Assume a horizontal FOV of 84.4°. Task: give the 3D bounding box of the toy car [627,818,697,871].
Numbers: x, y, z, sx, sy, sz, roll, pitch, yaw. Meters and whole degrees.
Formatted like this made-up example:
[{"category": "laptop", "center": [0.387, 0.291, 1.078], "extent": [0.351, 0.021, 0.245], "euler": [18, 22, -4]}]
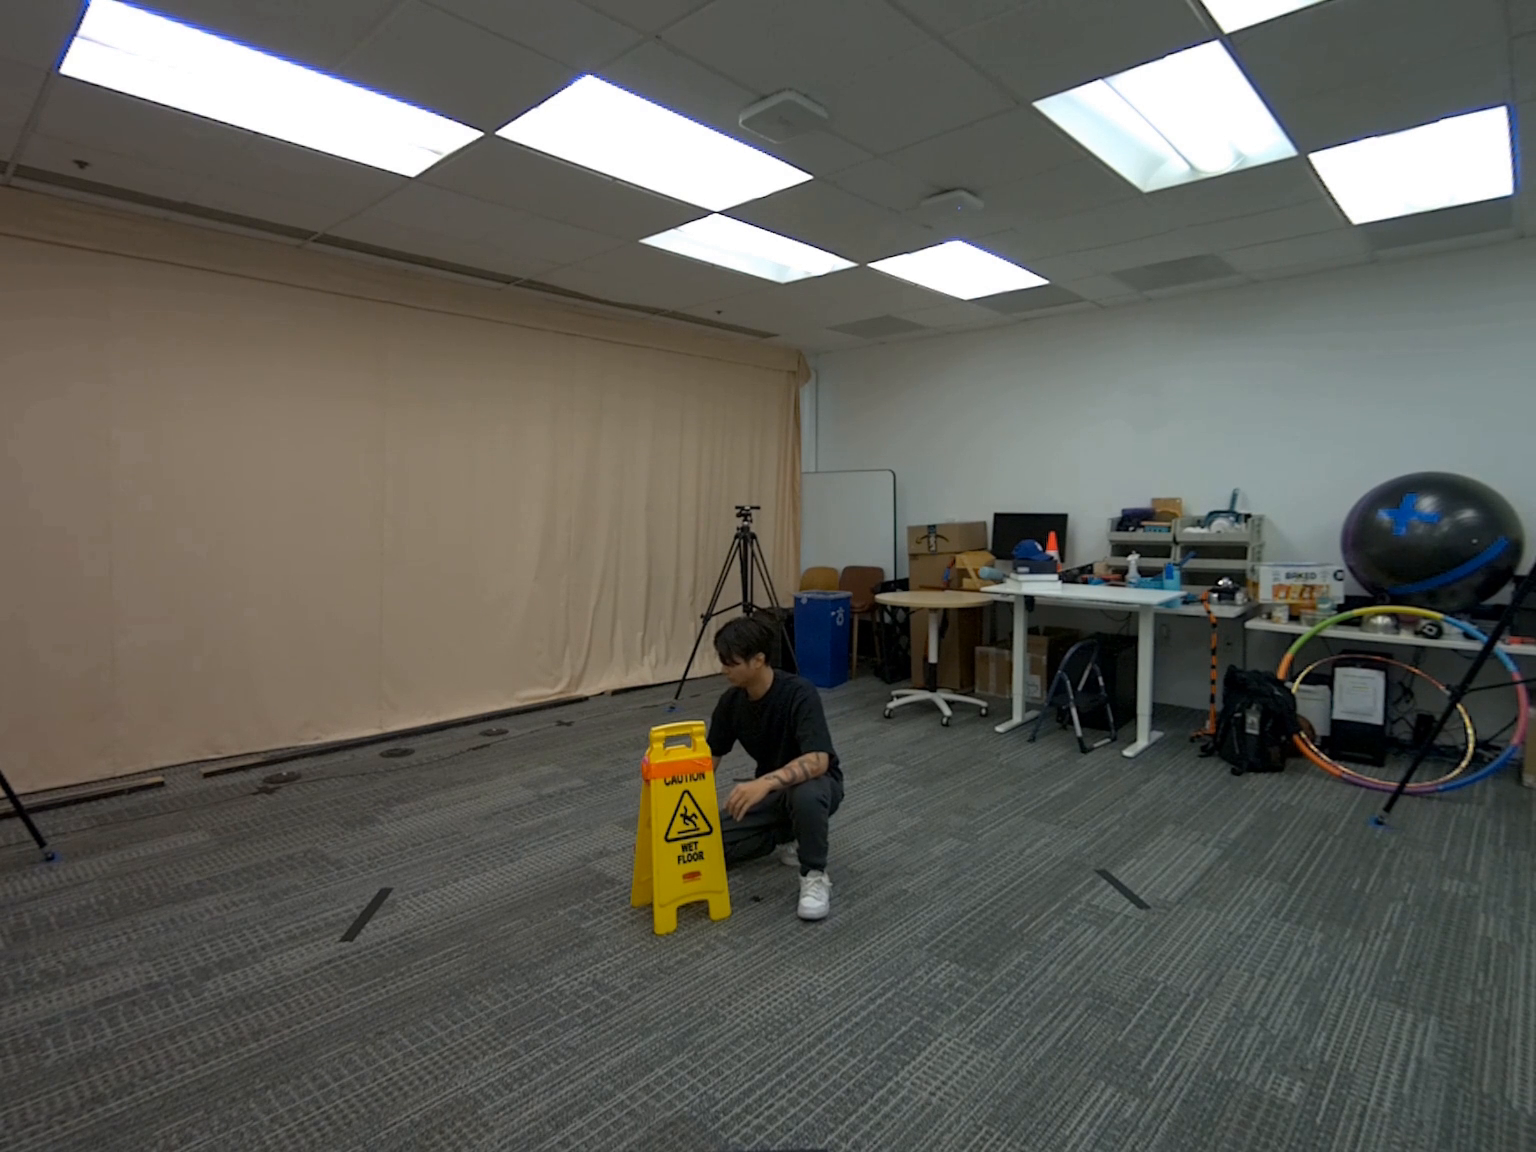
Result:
[{"category": "toy car", "center": [-0.419, 1.059, 3.361], "extent": [0.134, 0.083, 0.249], "euler": [-11, 8, 34]}]
